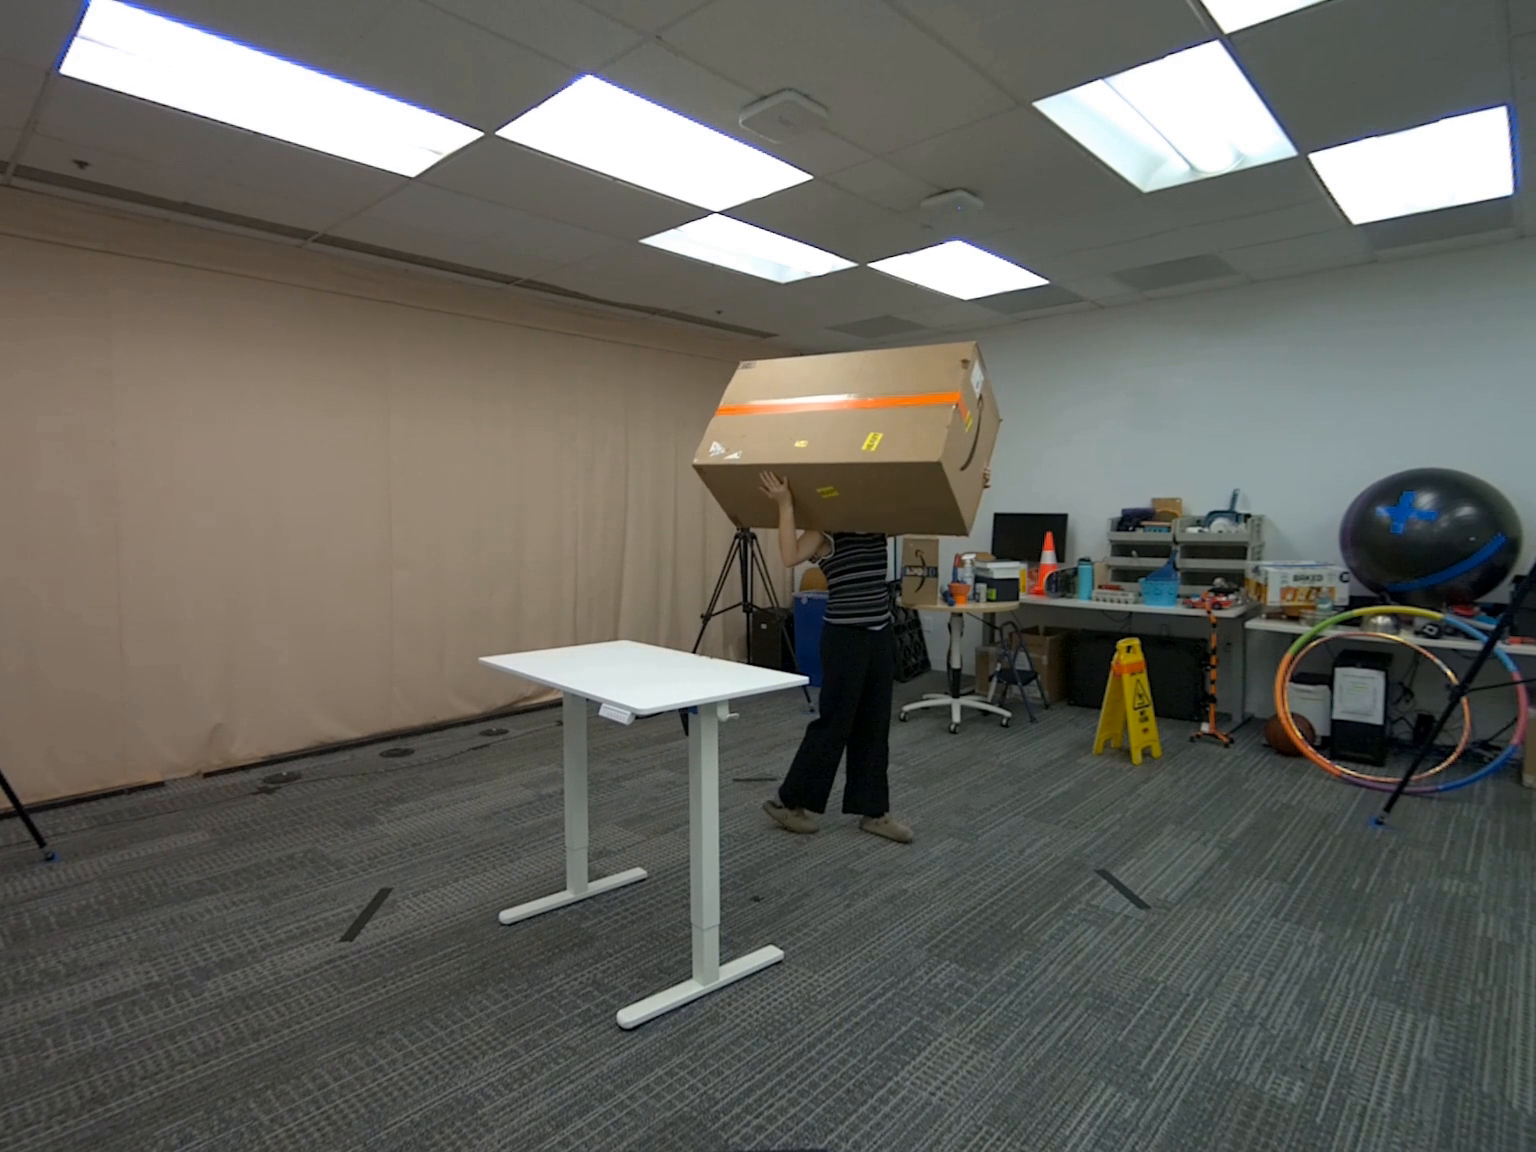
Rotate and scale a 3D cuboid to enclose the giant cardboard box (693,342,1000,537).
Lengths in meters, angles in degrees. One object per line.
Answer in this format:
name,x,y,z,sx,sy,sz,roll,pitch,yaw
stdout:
giant cardboard box,0.303,-0.527,3.328,1.058,0.579,0.412,4,-33,33
